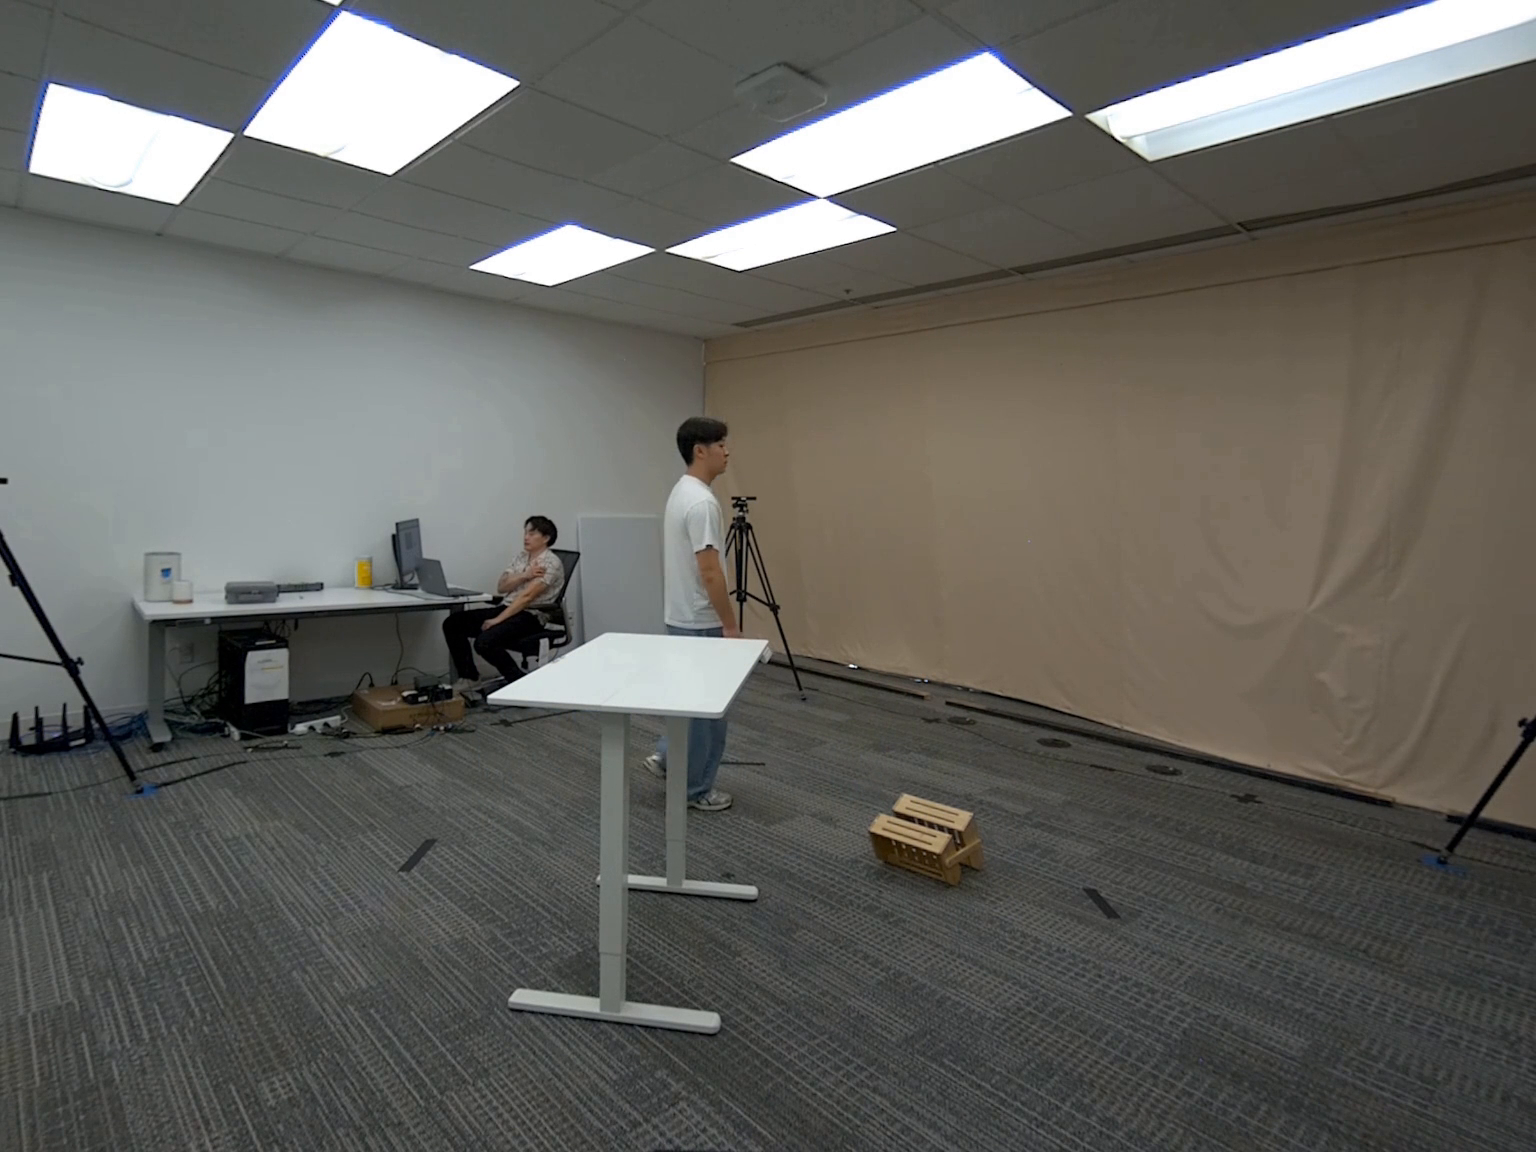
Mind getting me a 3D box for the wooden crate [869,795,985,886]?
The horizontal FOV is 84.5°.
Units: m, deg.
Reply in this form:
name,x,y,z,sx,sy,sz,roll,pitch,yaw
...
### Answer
name,x,y,z,sx,sy,sz,roll,pitch,yaw
wooden crate,0.594,1.028,3.193,0.332,0.296,0.272,5,33,40
